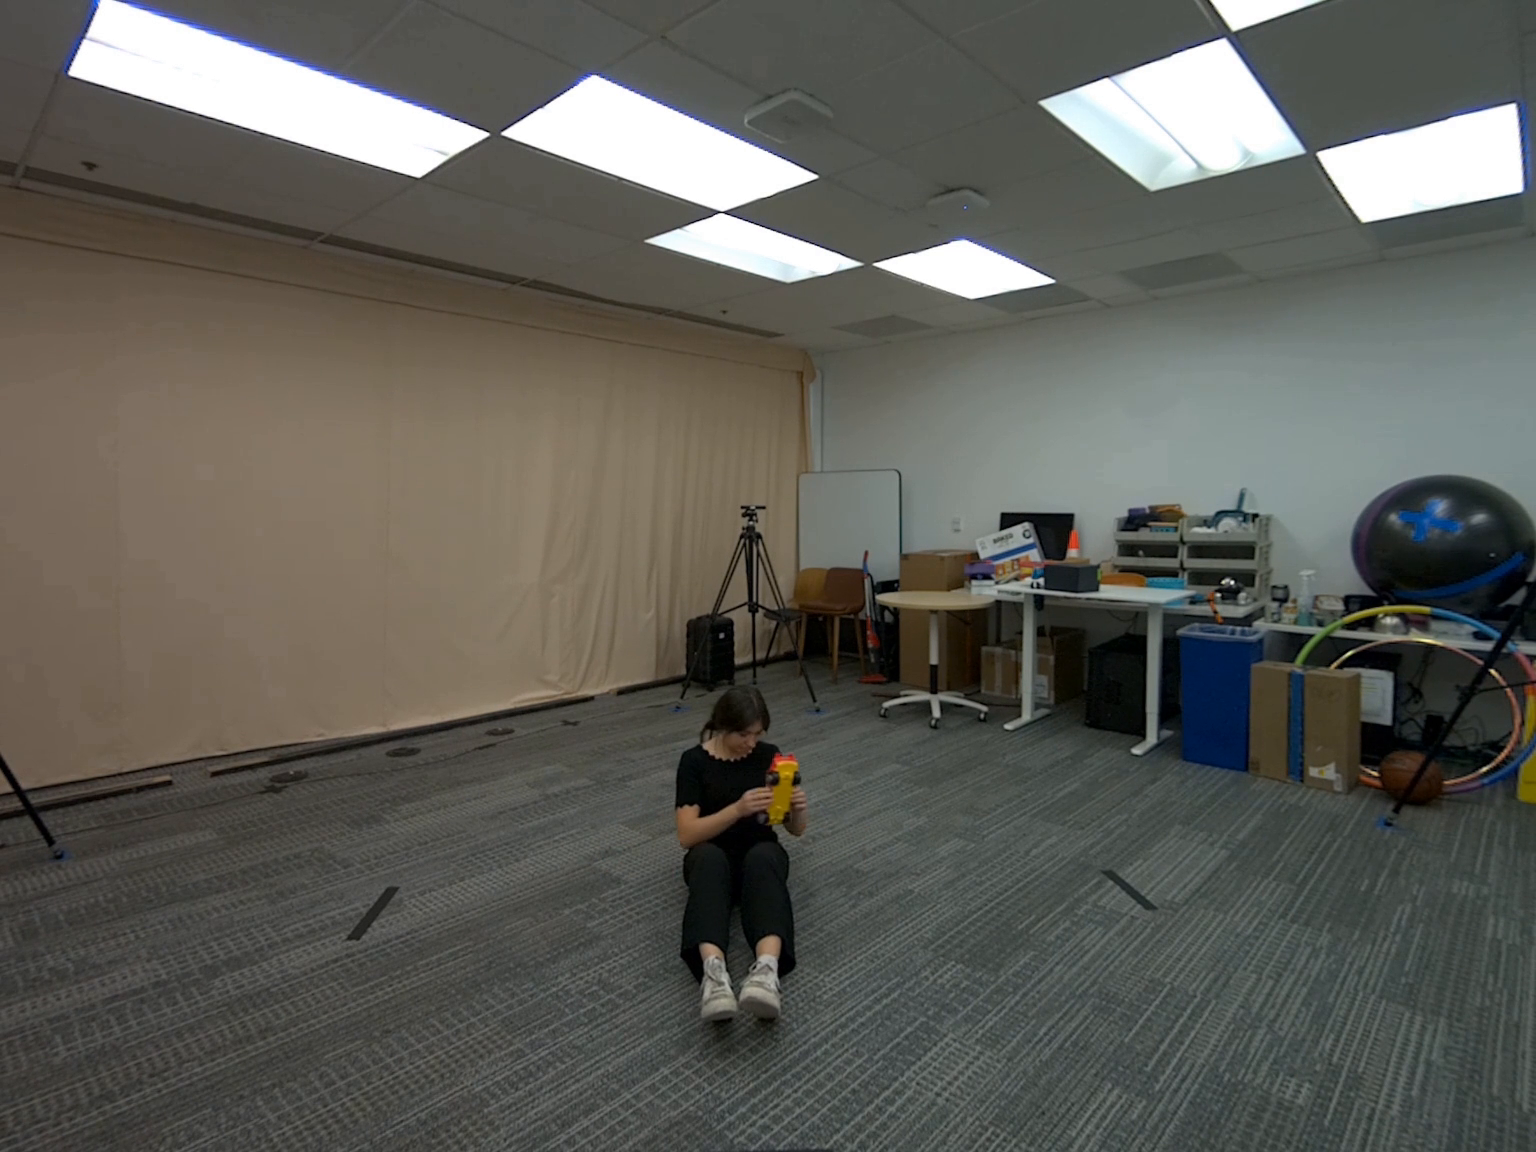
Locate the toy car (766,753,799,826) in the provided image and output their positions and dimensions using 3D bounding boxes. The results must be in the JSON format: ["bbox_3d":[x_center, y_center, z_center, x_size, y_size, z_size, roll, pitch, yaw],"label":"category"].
[{"bbox_3d":[0.031,0.747,2.884,0.127,0.254,0.085,8,0,-28],"label":"toy car"}]
